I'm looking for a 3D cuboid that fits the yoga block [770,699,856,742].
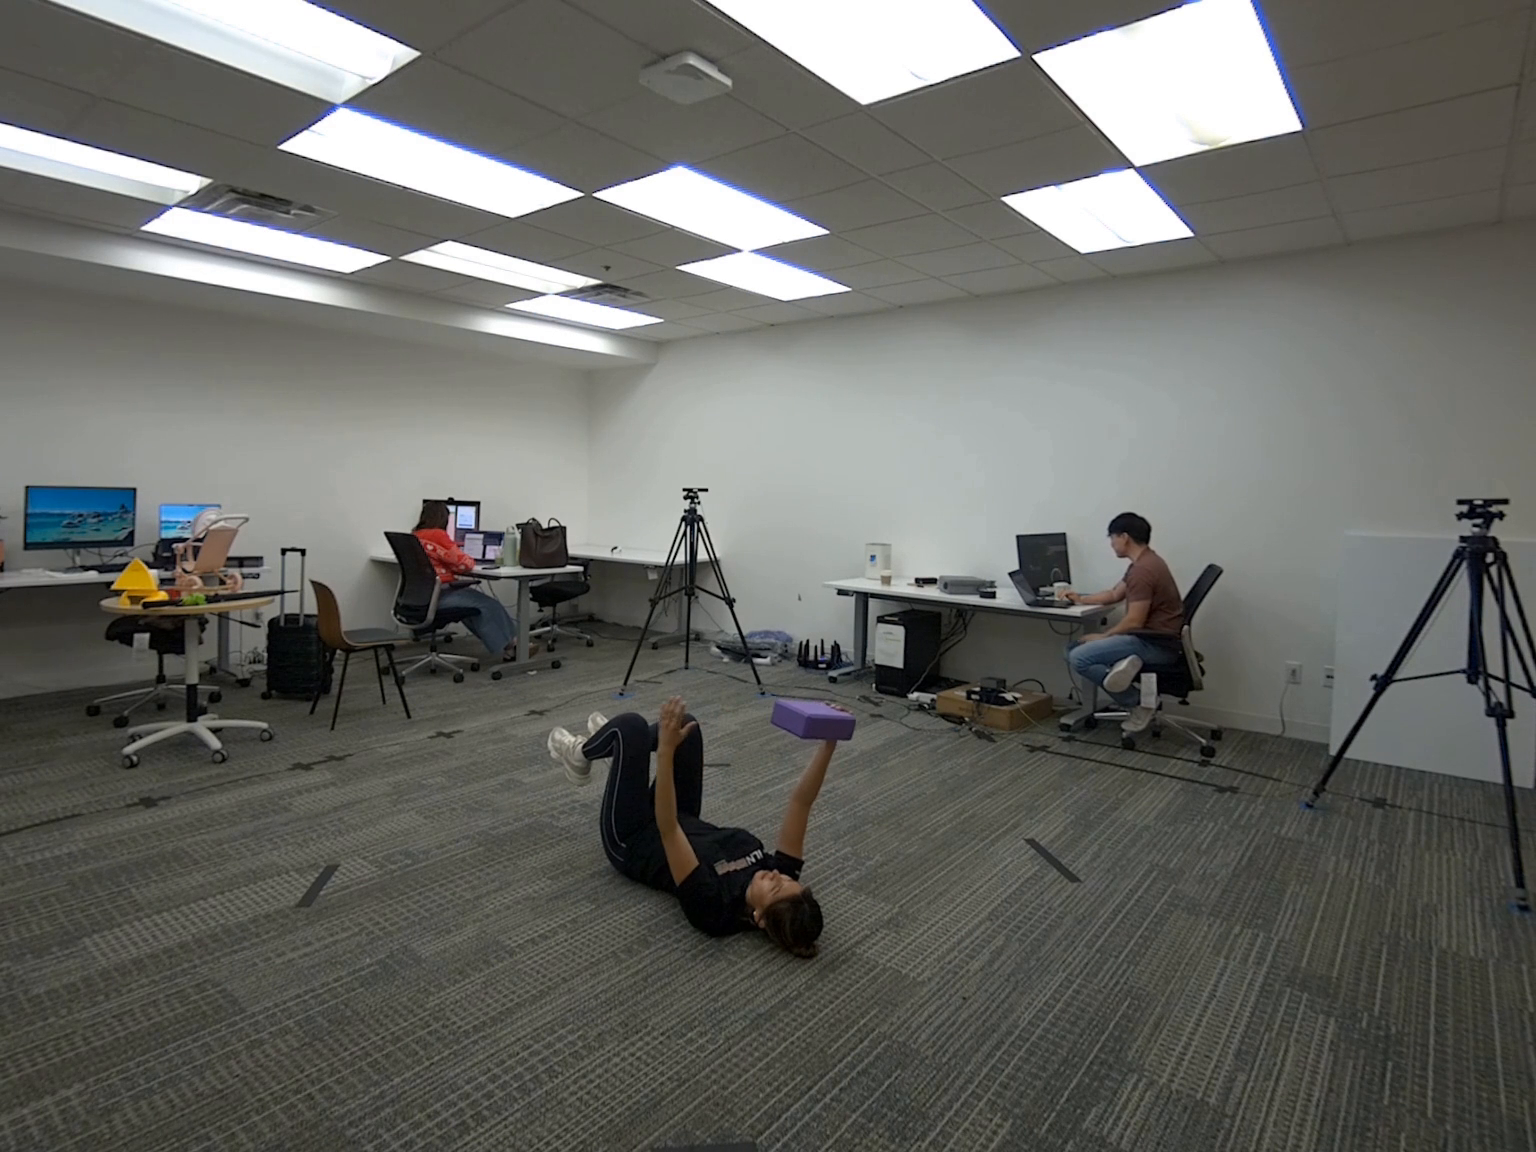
[{"bbox_3d":[0.130,0.434,2.564,0.221,0.076,0.155,12,3,-43],"label":"yoga block"}]
